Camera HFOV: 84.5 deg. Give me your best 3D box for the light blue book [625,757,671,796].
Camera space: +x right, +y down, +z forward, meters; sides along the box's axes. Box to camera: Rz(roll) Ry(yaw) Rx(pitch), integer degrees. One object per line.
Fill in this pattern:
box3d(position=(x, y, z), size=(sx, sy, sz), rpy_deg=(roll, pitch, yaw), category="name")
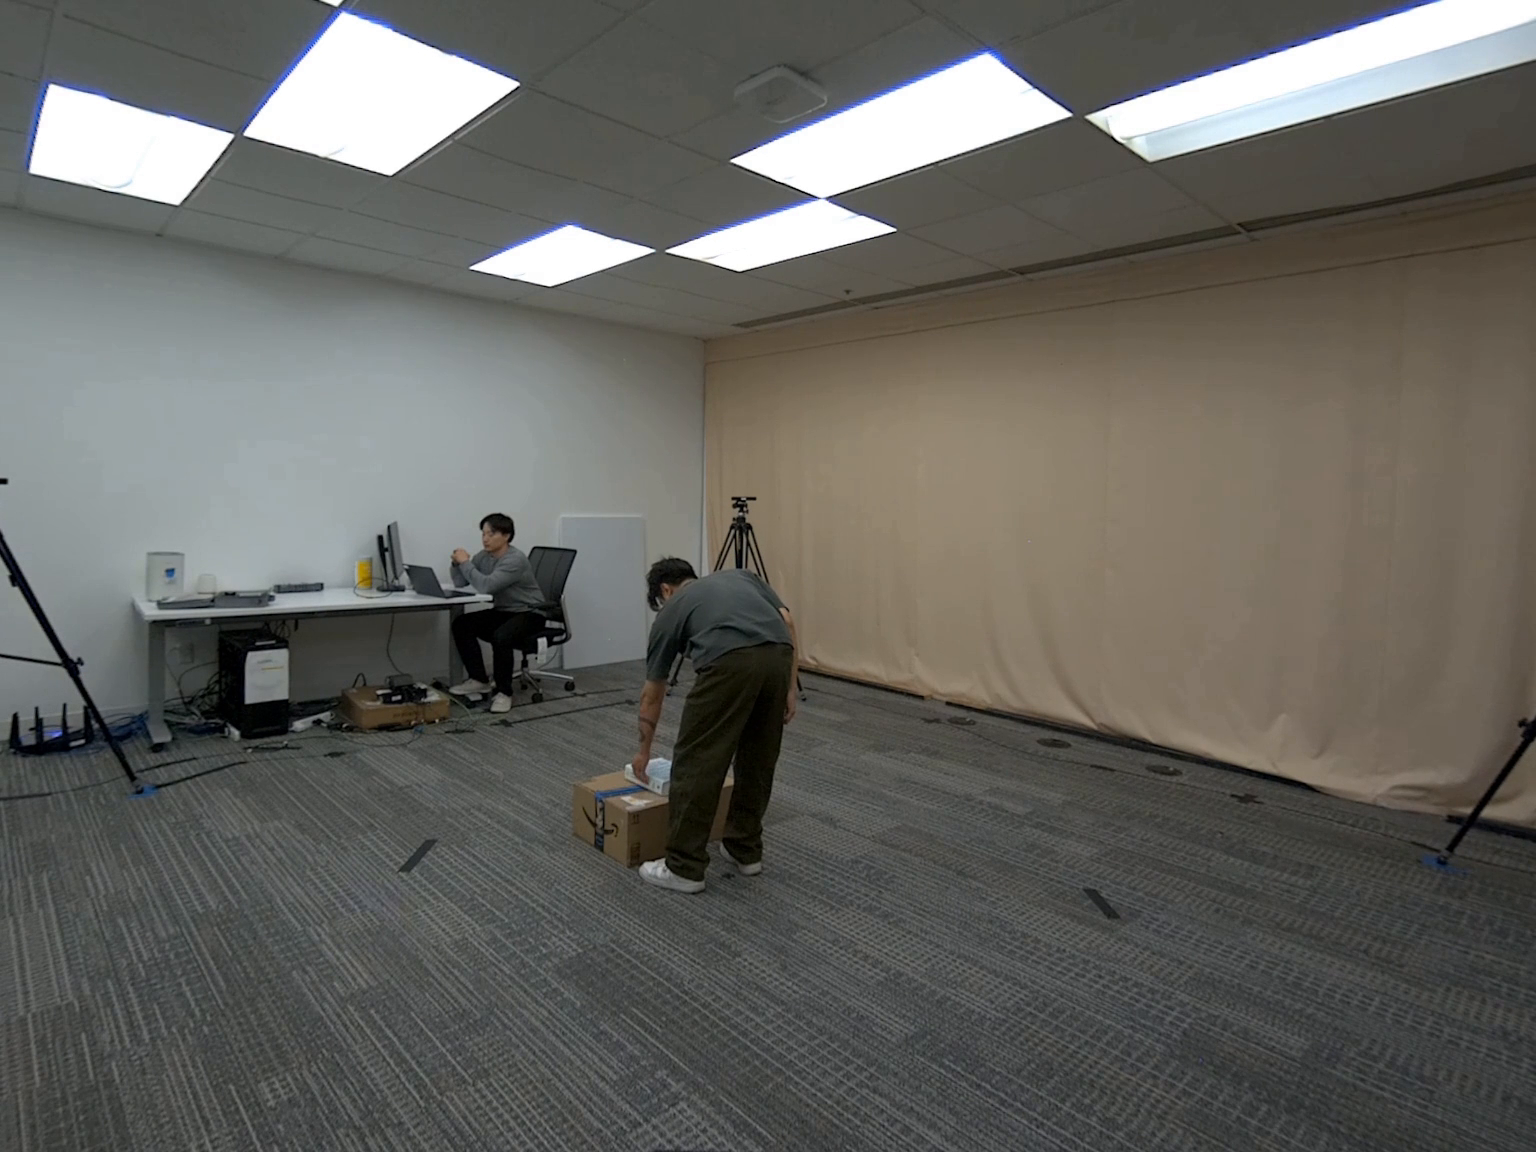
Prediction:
box3d(position=(-0.448, 0.827, 3.487), size=(0.187, 0.059, 0.268), rpy_deg=(-1, 6, -43), category="light blue book")
